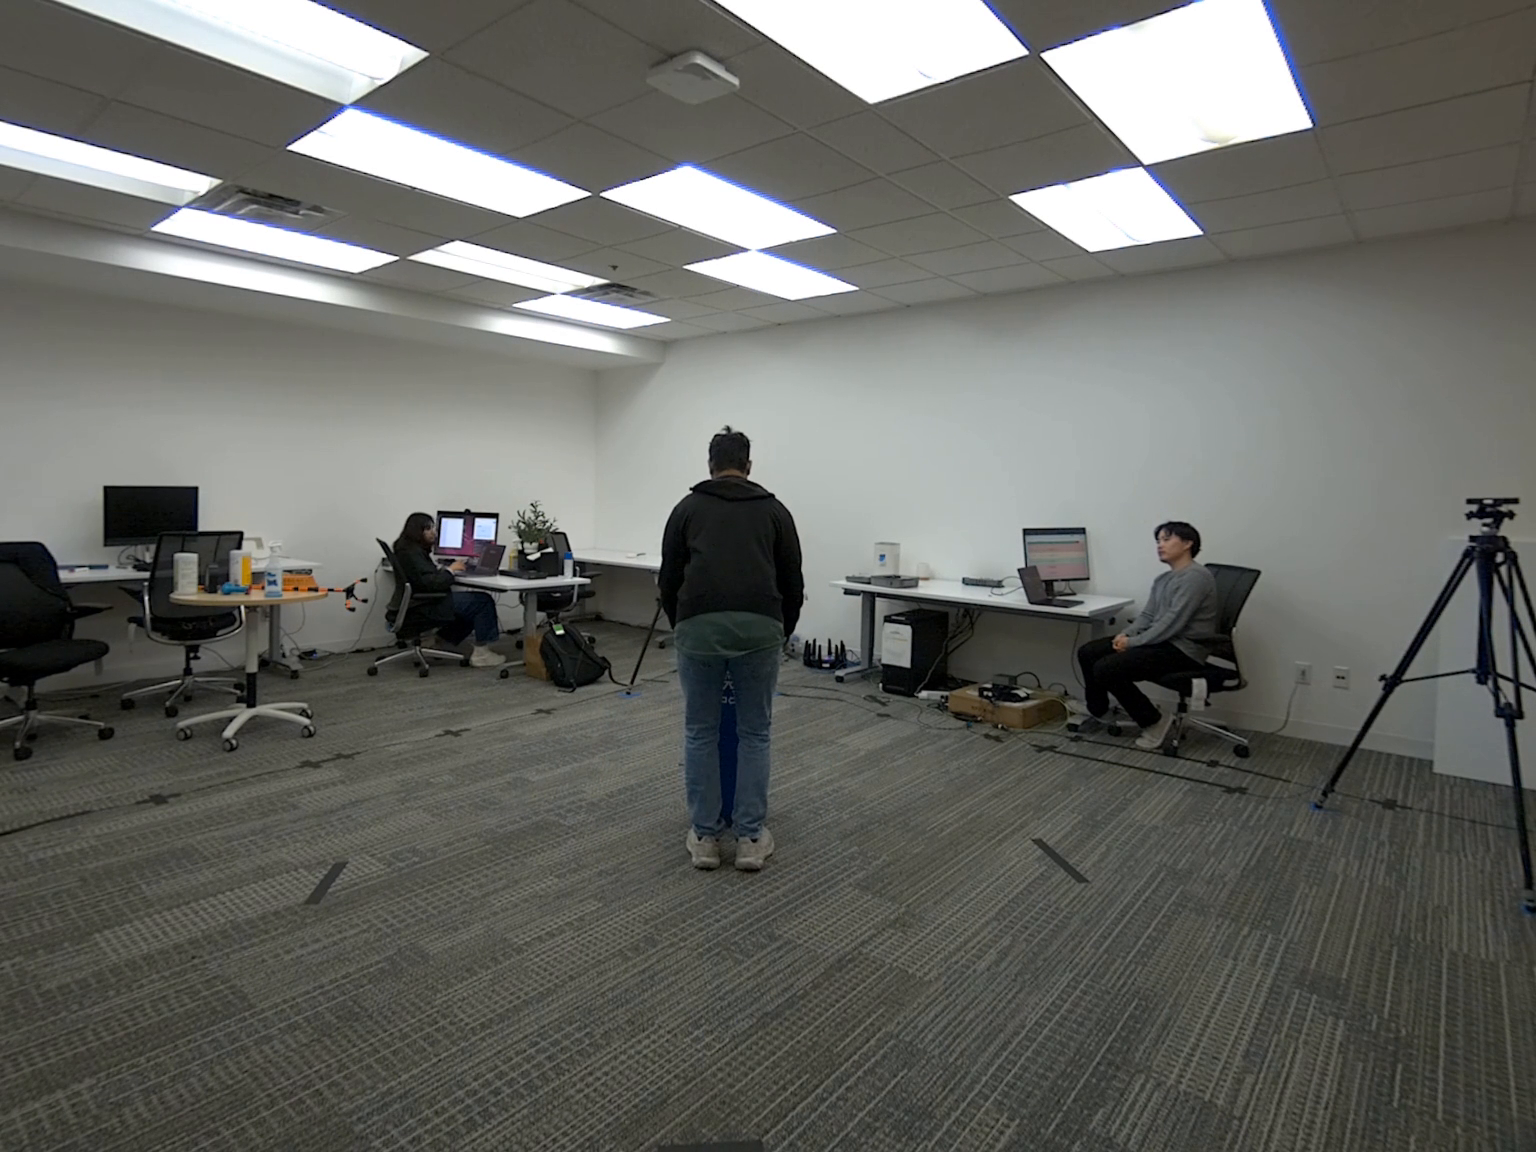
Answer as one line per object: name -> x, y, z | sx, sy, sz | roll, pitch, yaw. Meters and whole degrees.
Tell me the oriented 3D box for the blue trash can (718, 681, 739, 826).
blue trash can -> -0.164, 0.606, 3.582 | 0.373, 0.711, 0.381 | 1, 5, -4
